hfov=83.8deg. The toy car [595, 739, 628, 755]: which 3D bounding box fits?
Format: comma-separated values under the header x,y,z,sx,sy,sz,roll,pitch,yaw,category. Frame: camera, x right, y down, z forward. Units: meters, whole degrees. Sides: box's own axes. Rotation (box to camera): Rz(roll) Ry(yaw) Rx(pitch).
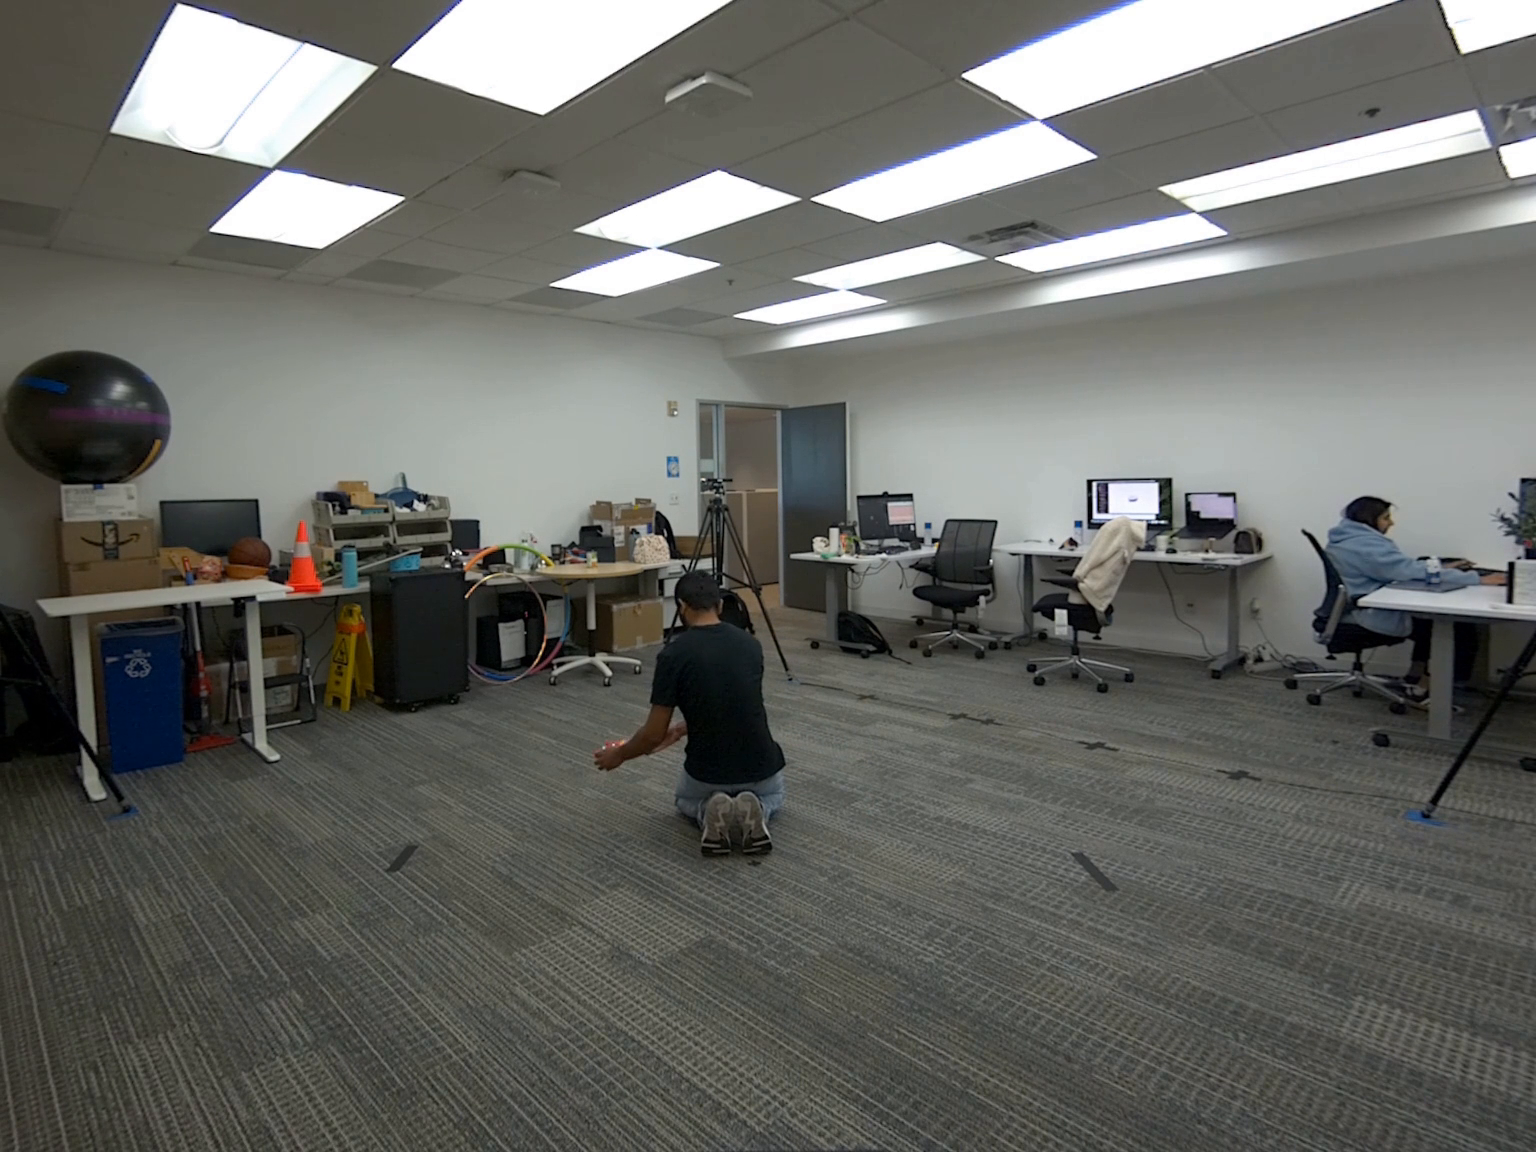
x,y,z,sx,sy,sz,roll,pitch,yaw,category
-0.597,0.740,3.575,0.247,0.083,0.134,2,1,-37,toy car
